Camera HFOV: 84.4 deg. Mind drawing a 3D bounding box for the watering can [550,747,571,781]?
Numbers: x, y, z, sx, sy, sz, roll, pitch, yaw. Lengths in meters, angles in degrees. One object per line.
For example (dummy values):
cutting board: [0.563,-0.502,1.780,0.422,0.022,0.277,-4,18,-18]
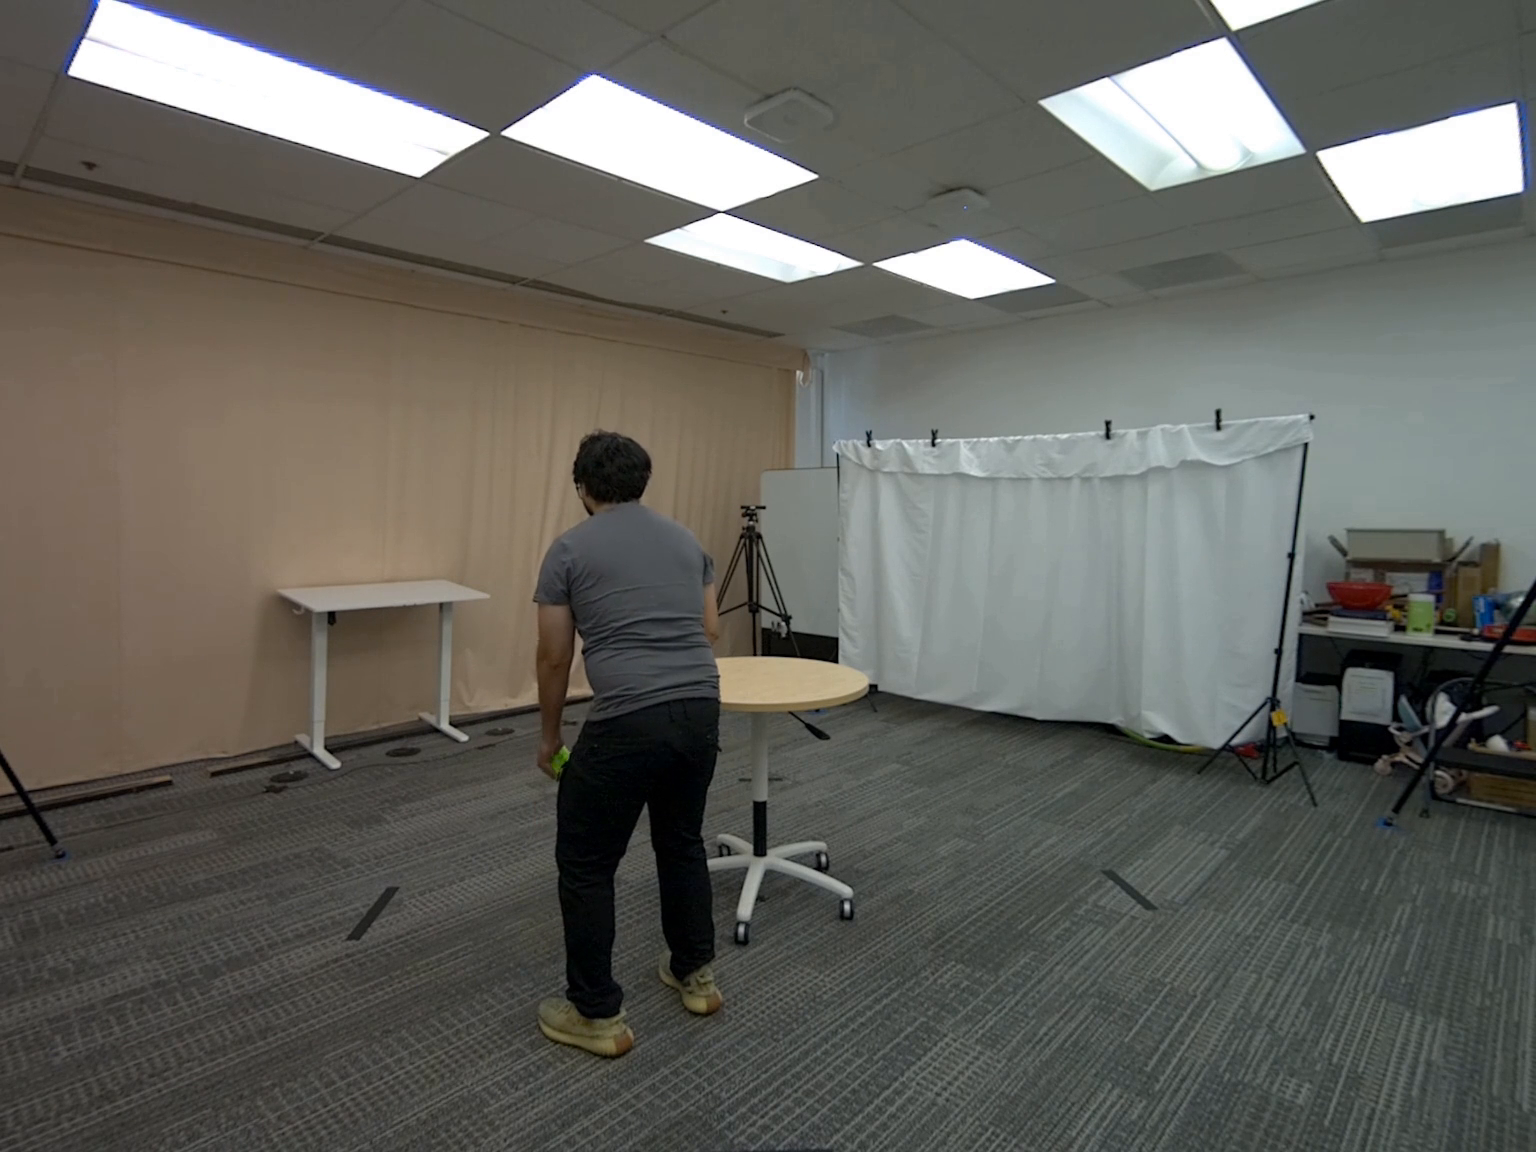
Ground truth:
watering can: [-0.570,0.576,2.471,0.098,0.176,0.279,-41,5,3]
